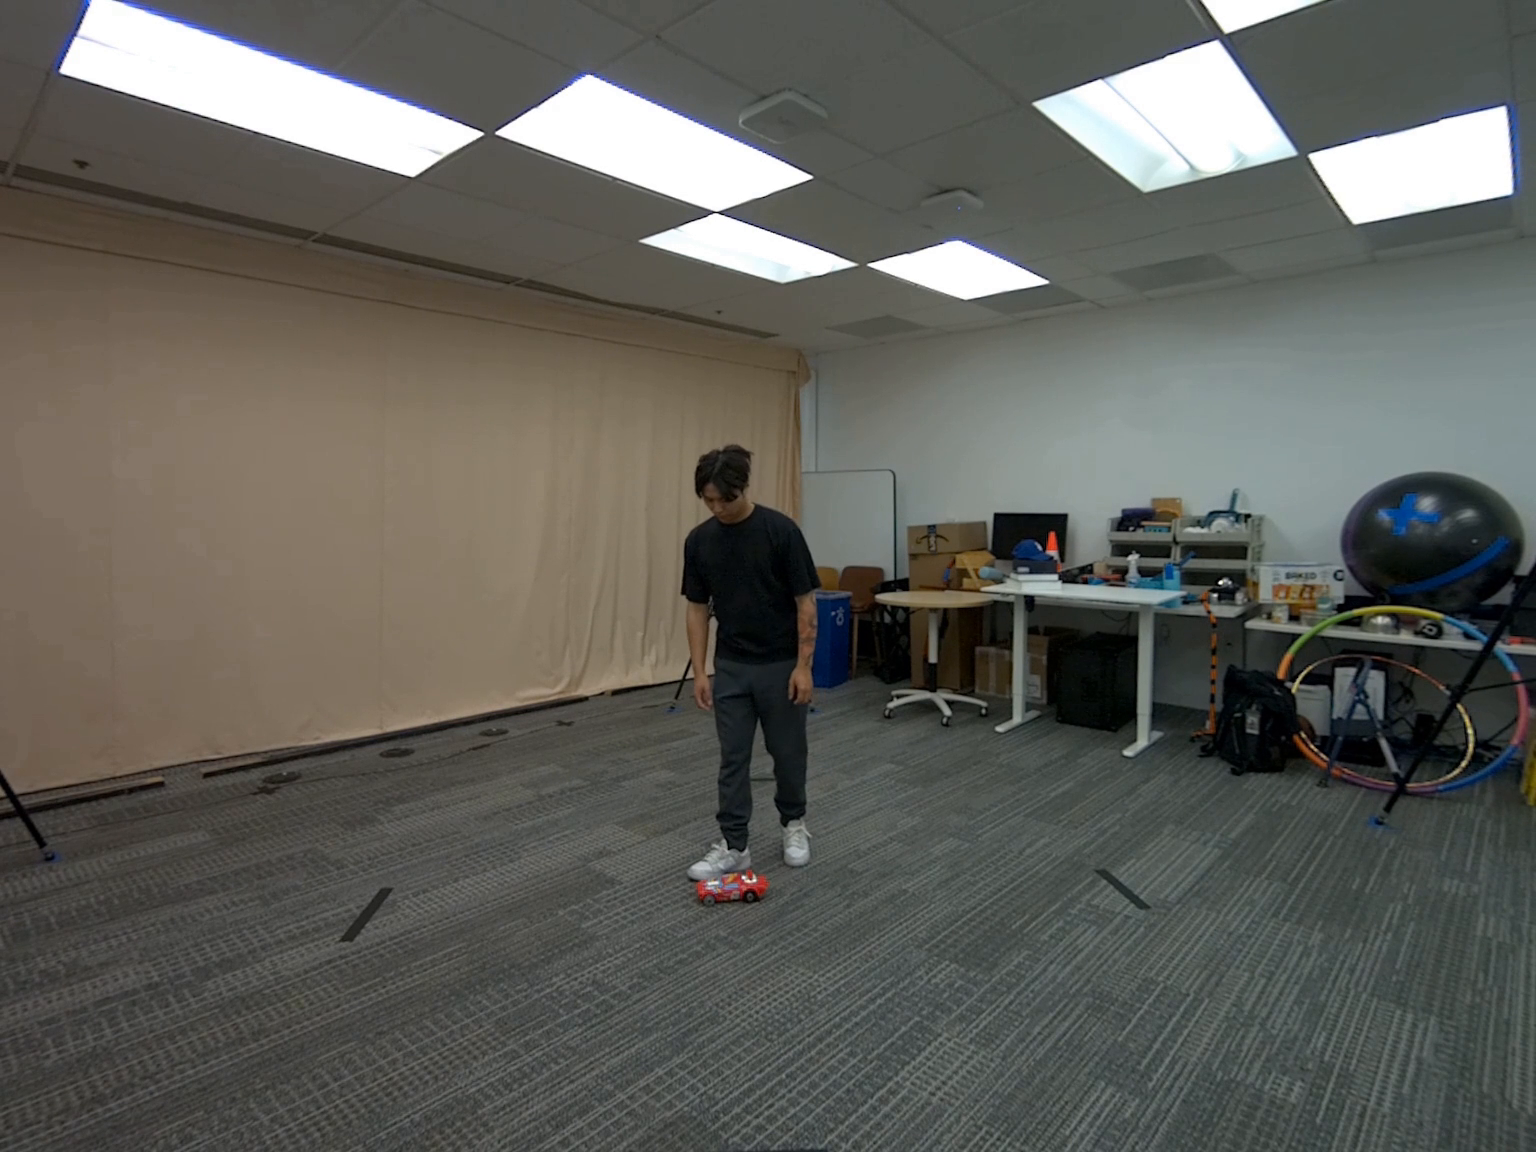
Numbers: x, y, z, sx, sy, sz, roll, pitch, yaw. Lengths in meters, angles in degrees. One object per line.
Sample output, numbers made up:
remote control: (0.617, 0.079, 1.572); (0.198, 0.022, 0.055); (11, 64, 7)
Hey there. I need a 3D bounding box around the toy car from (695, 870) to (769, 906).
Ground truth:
toy car: (-0.122, 1.113, 2.994); (0.252, 0.083, 0.132); (-13, 7, -9)
